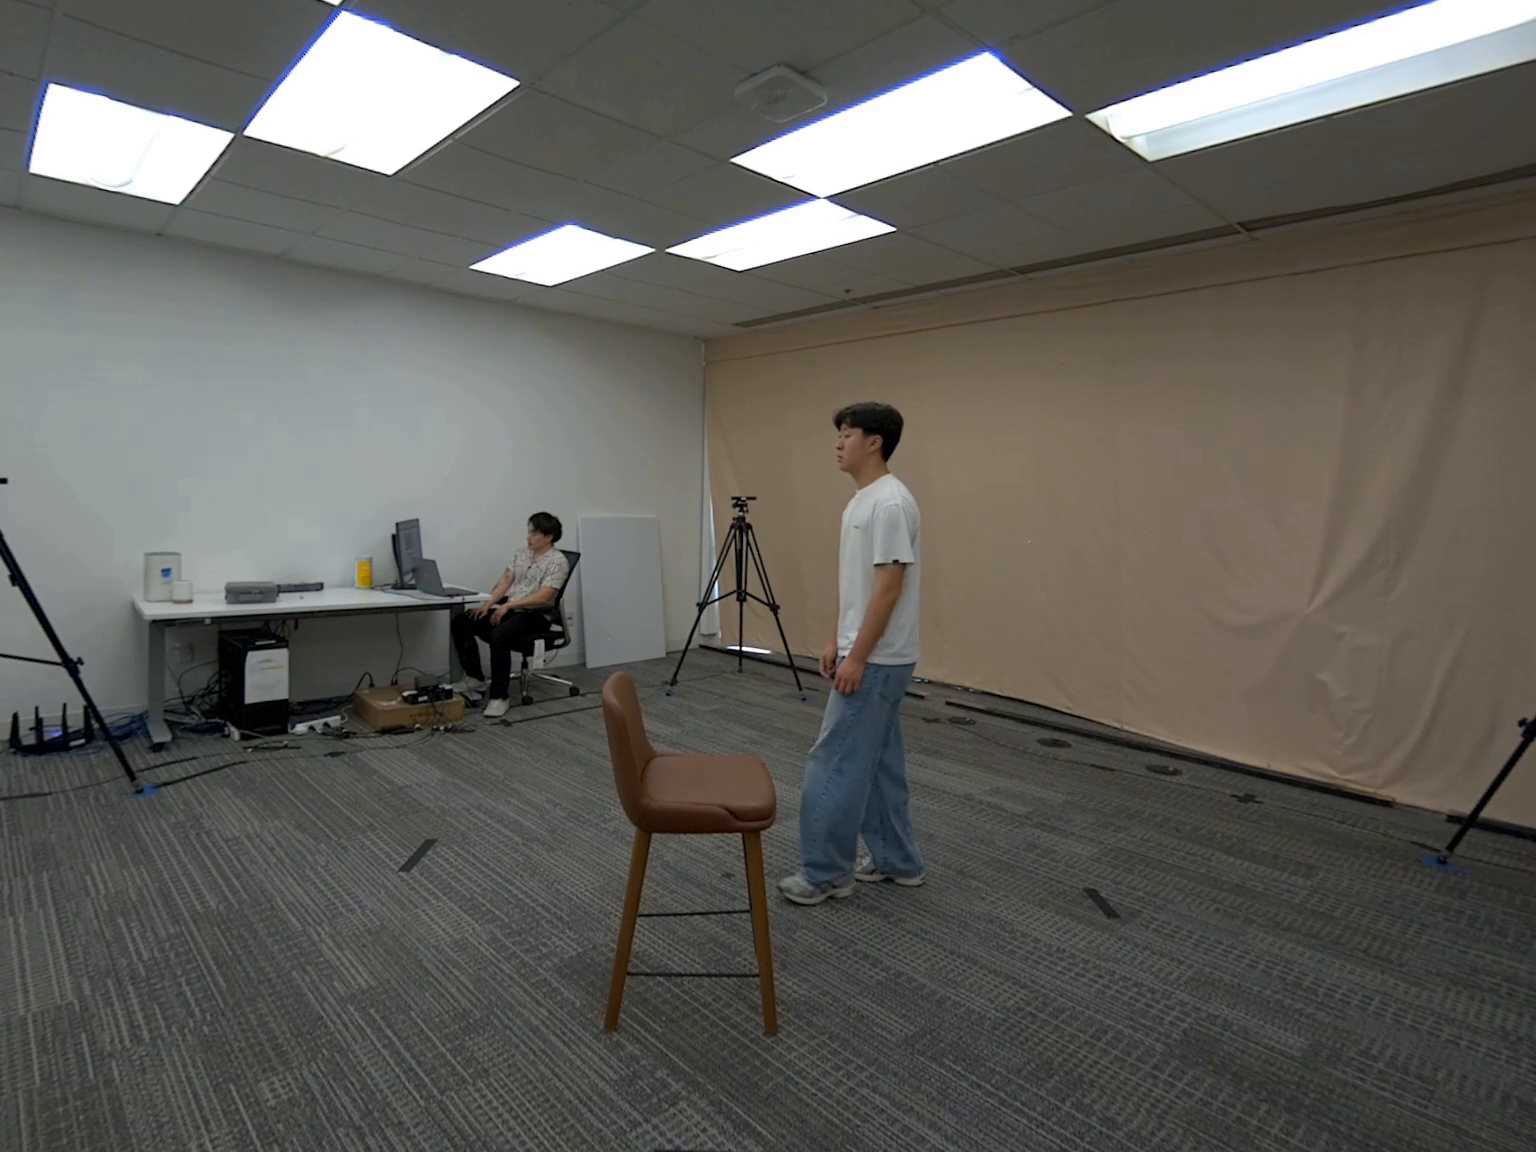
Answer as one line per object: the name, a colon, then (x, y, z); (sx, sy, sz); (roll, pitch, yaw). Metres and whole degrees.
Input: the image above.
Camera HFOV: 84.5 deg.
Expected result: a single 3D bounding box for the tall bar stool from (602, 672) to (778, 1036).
tall bar stool: (-0.223, 0.740, 2.351); (0.466, 0.887, 0.459); (-1, 4, -4)
